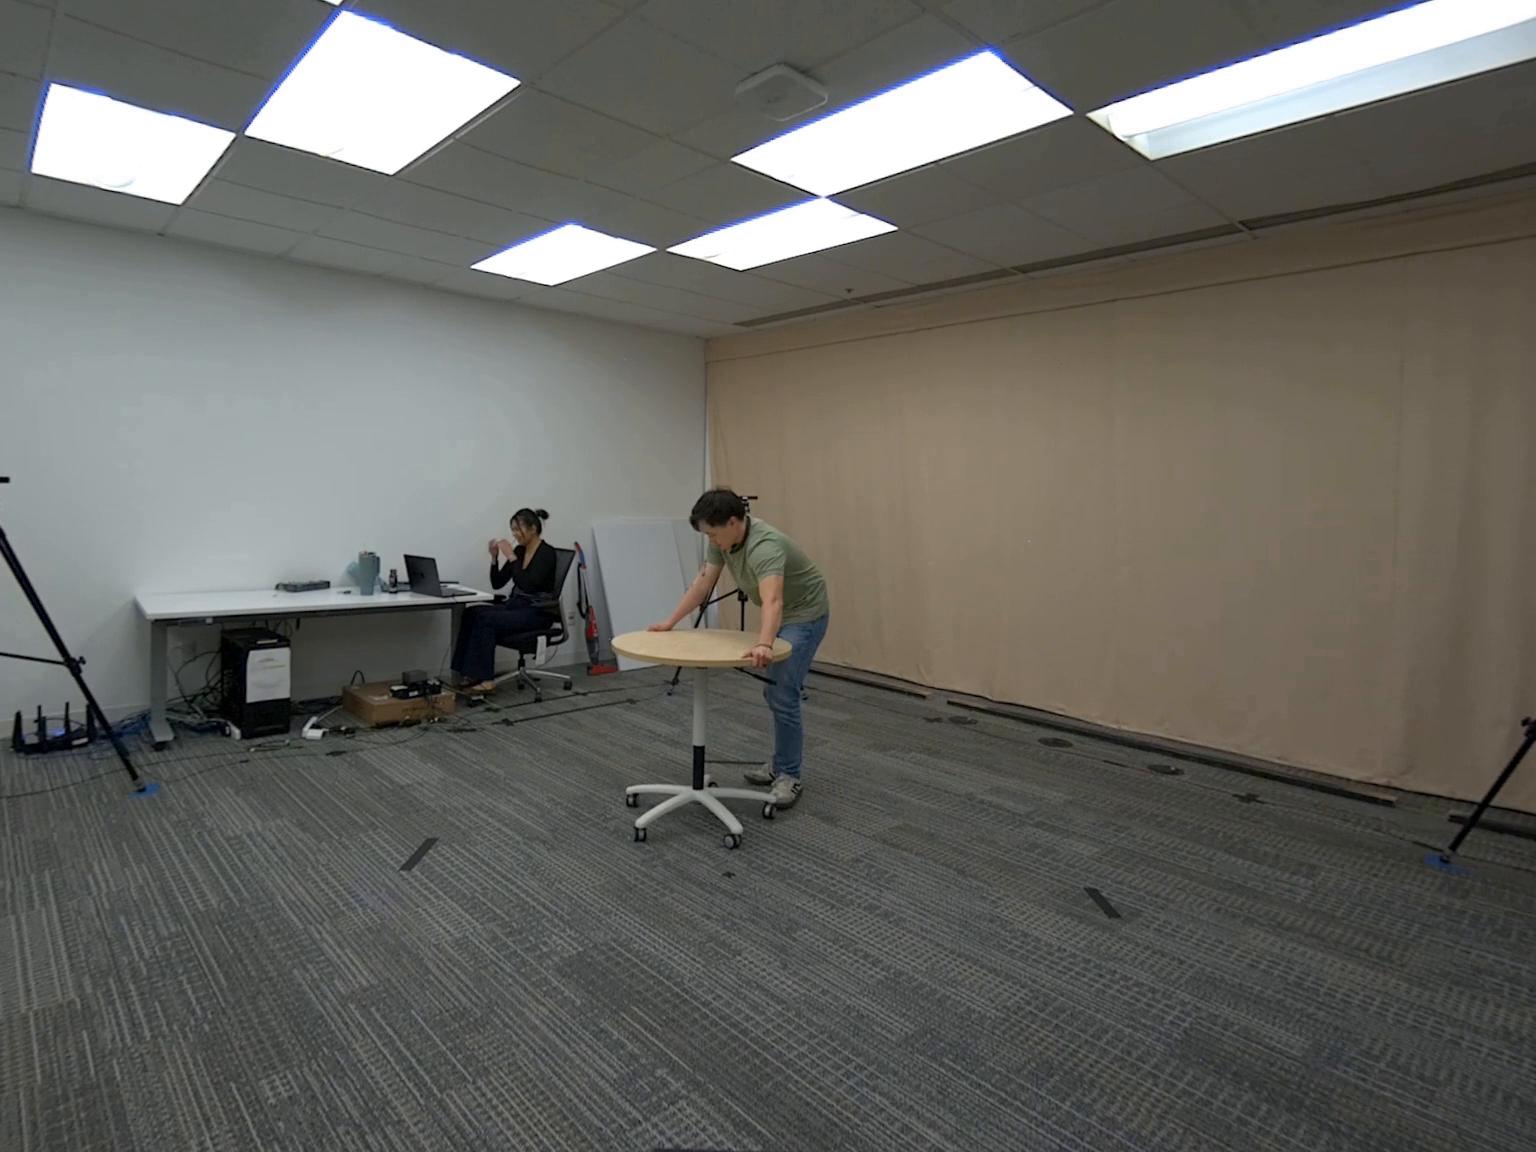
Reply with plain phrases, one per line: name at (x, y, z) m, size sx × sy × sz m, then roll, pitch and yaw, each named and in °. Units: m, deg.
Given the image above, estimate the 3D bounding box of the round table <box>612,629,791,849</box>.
round table at (-0.307, 0.671, 3.607) m, size 0.763 × 0.792 × 0.766 m, roll 2°, pitch 3°, yaw -1°
